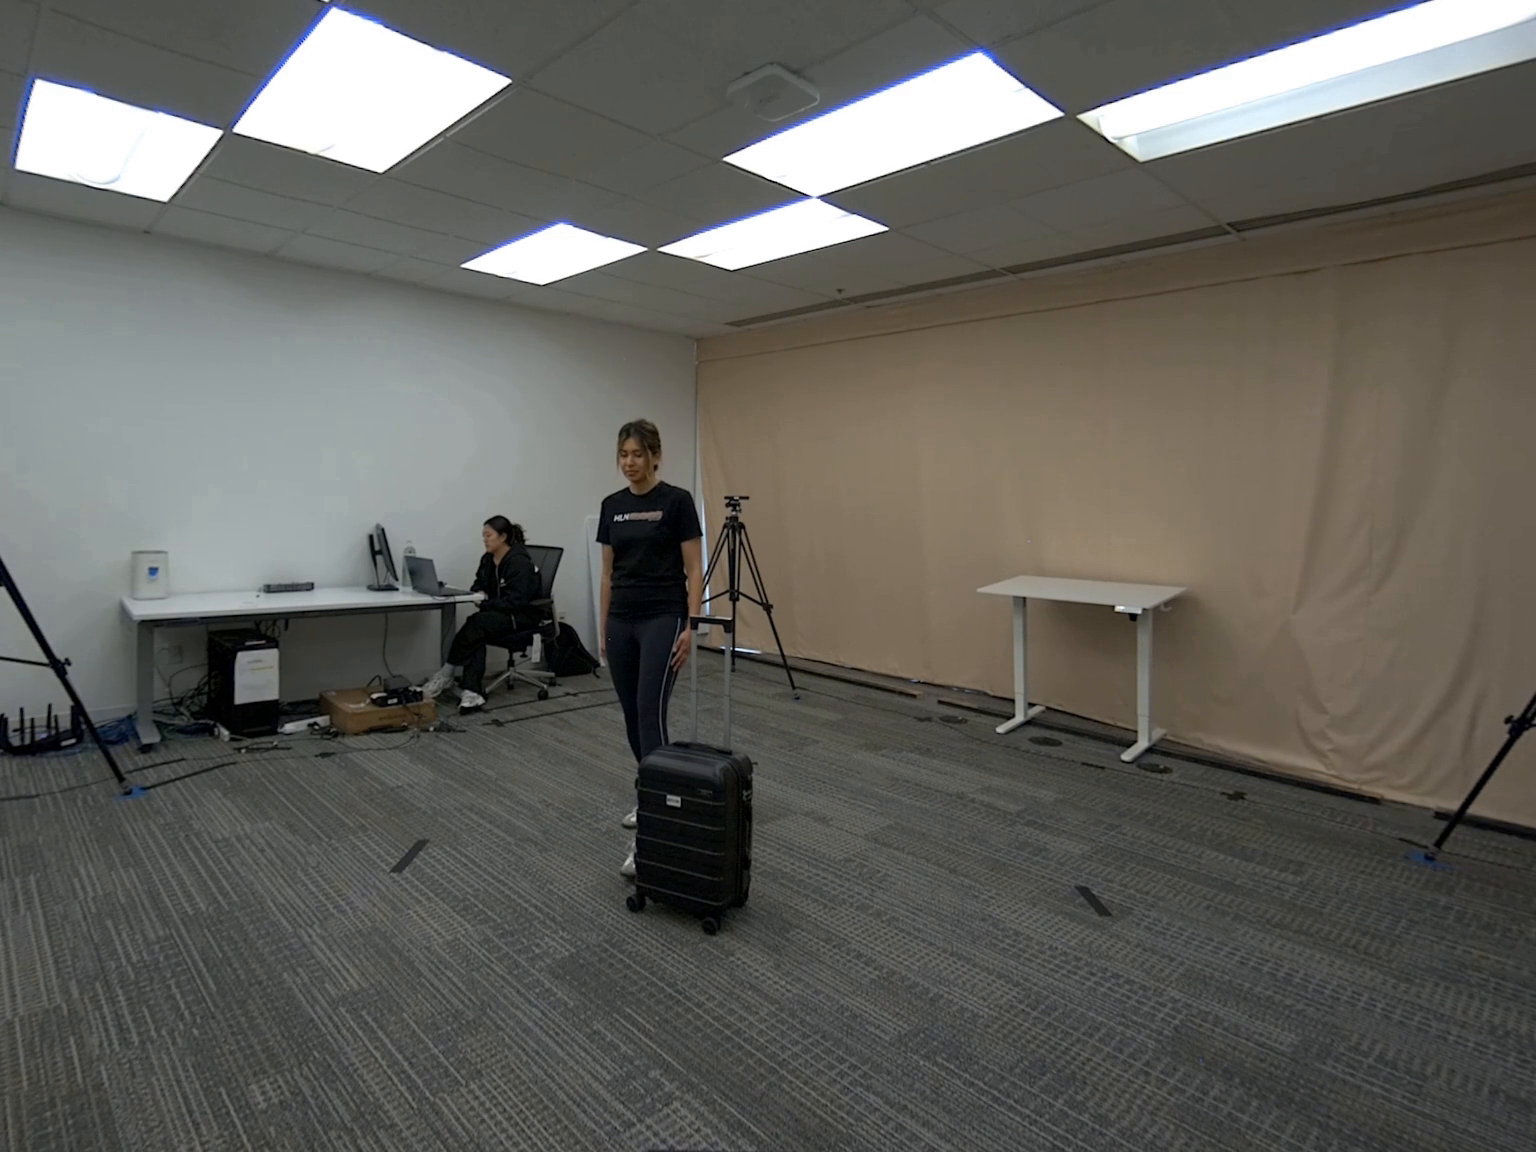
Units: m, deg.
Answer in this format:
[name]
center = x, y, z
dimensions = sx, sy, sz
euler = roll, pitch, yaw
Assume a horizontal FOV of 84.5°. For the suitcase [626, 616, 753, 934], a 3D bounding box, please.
[suitcase]
center = -0.245, 0.654, 2.805
dimensions = 0.391, 0.975, 0.253
euler = 4, 6, 24
